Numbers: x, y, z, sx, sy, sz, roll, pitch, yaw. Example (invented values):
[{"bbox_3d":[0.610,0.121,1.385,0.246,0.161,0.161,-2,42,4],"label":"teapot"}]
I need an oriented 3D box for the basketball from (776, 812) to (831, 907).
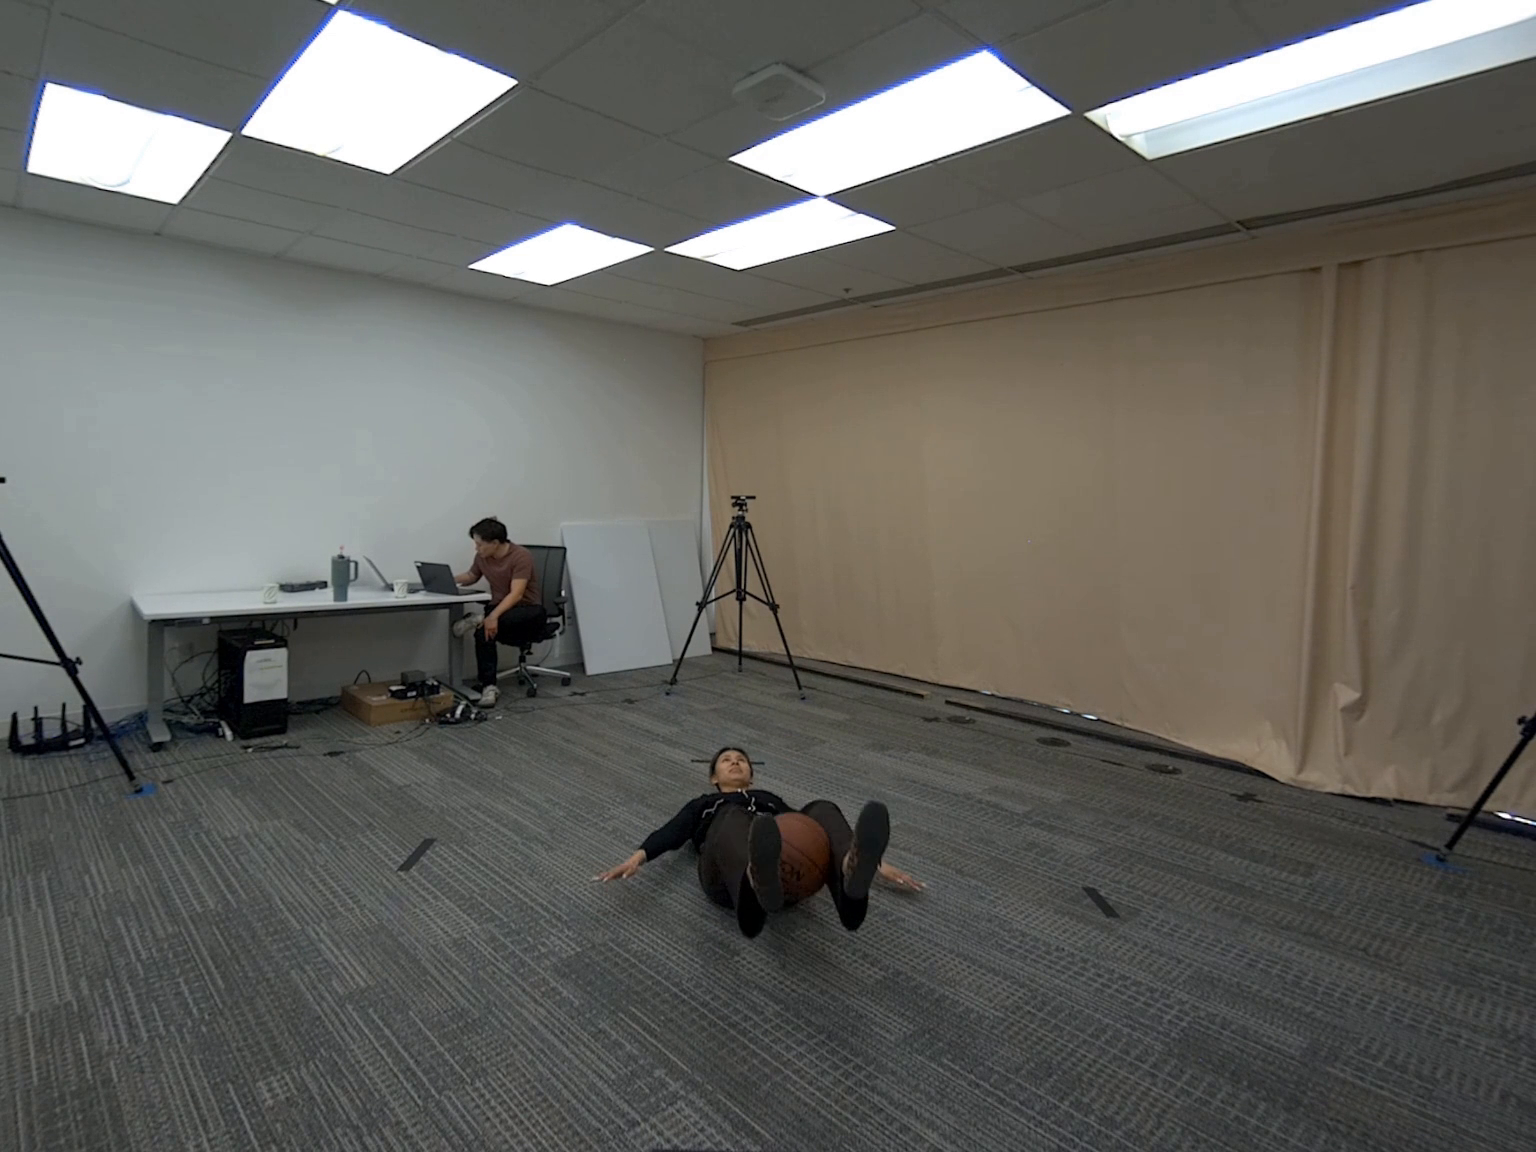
[{"bbox_3d":[0.059,0.807,2.416,0.236,0.235,0.237,1,4,-1],"label":"basketball"}]
